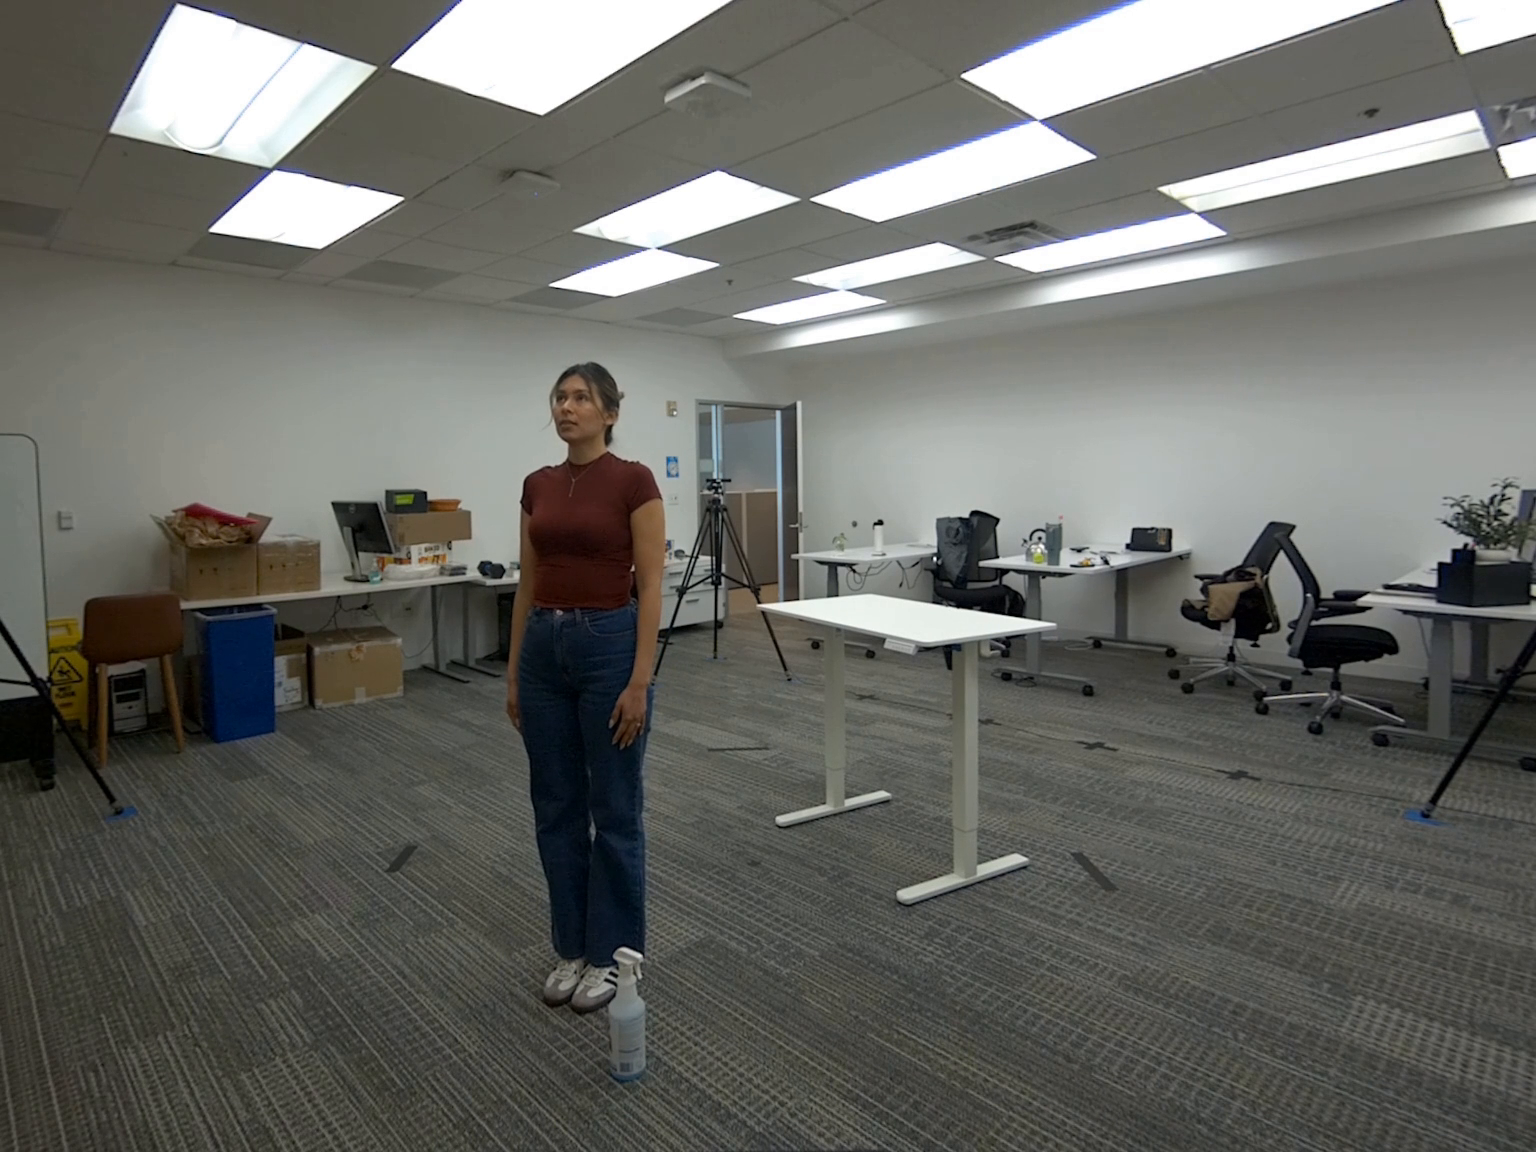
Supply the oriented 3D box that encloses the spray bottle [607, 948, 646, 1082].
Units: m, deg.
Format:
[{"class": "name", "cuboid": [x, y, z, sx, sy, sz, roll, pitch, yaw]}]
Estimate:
[{"class": "spray bottle", "cuboid": [-0.325, 1.031, 2.028, 0.085, 0.296, 0.092, -2, 4, -26]}]
